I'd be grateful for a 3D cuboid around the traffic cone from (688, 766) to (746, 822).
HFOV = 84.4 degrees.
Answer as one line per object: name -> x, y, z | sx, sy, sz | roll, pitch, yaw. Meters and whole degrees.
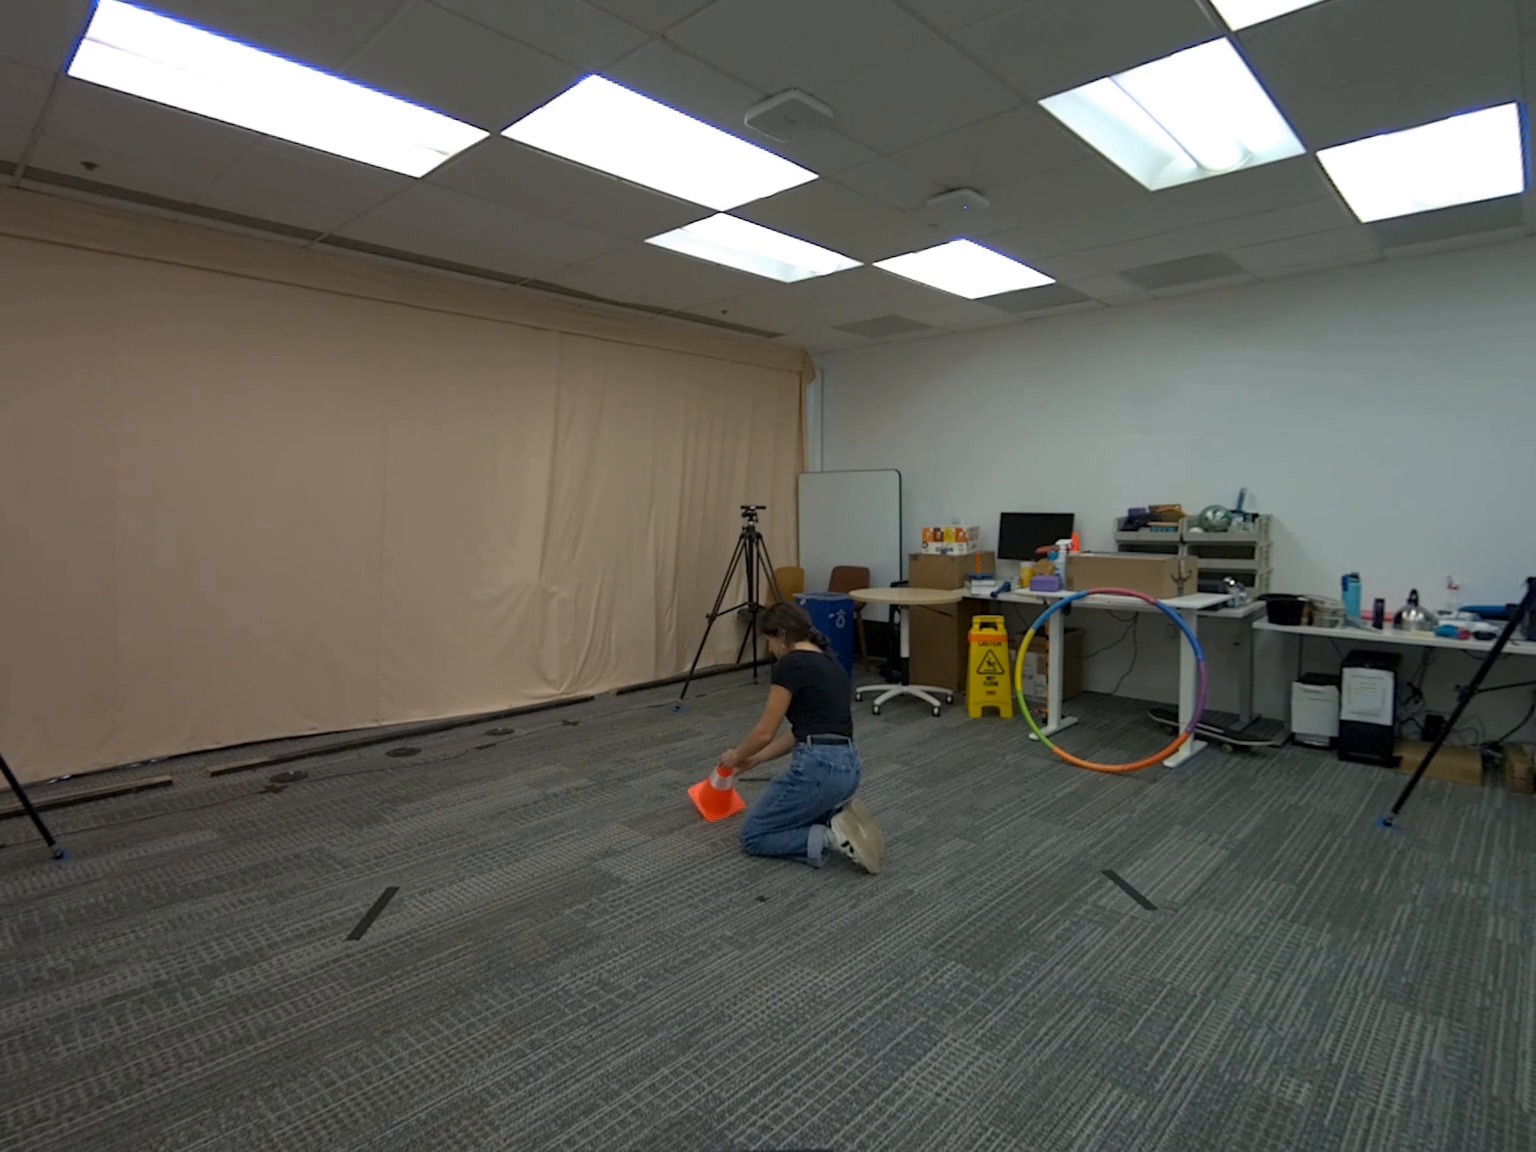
traffic cone -> -0.194, 0.894, 3.711 | 0.201, 0.379, 0.210 | -19, 54, -28
